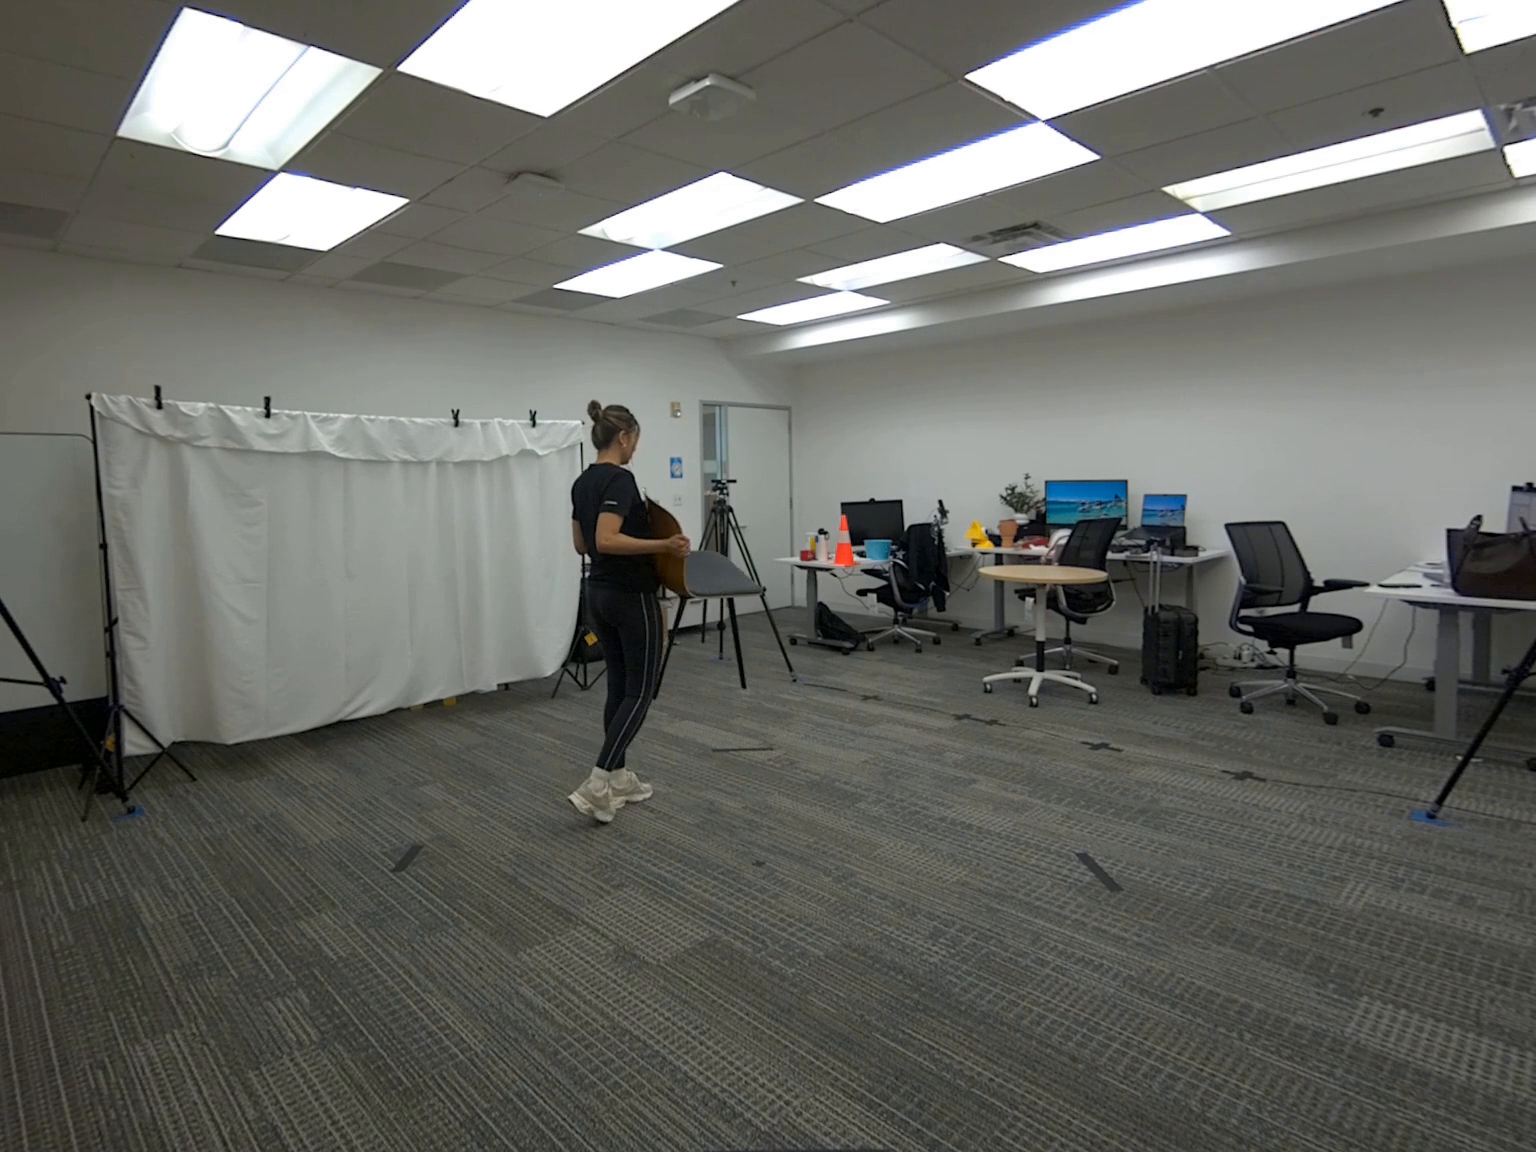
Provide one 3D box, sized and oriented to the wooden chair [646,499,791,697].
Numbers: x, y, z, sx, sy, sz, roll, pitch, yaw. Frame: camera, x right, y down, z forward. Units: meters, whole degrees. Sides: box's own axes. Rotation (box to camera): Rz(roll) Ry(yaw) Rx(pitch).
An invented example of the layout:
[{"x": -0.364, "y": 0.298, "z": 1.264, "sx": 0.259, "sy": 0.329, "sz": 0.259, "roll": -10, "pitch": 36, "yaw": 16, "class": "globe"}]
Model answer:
[{"x": -0.325, "y": 0.044, "z": 3.793, "sx": 0.512, "sy": 0.863, "sz": 0.496, "roll": -6, "pitch": 24, "yaw": -28, "class": "wooden chair"}]
